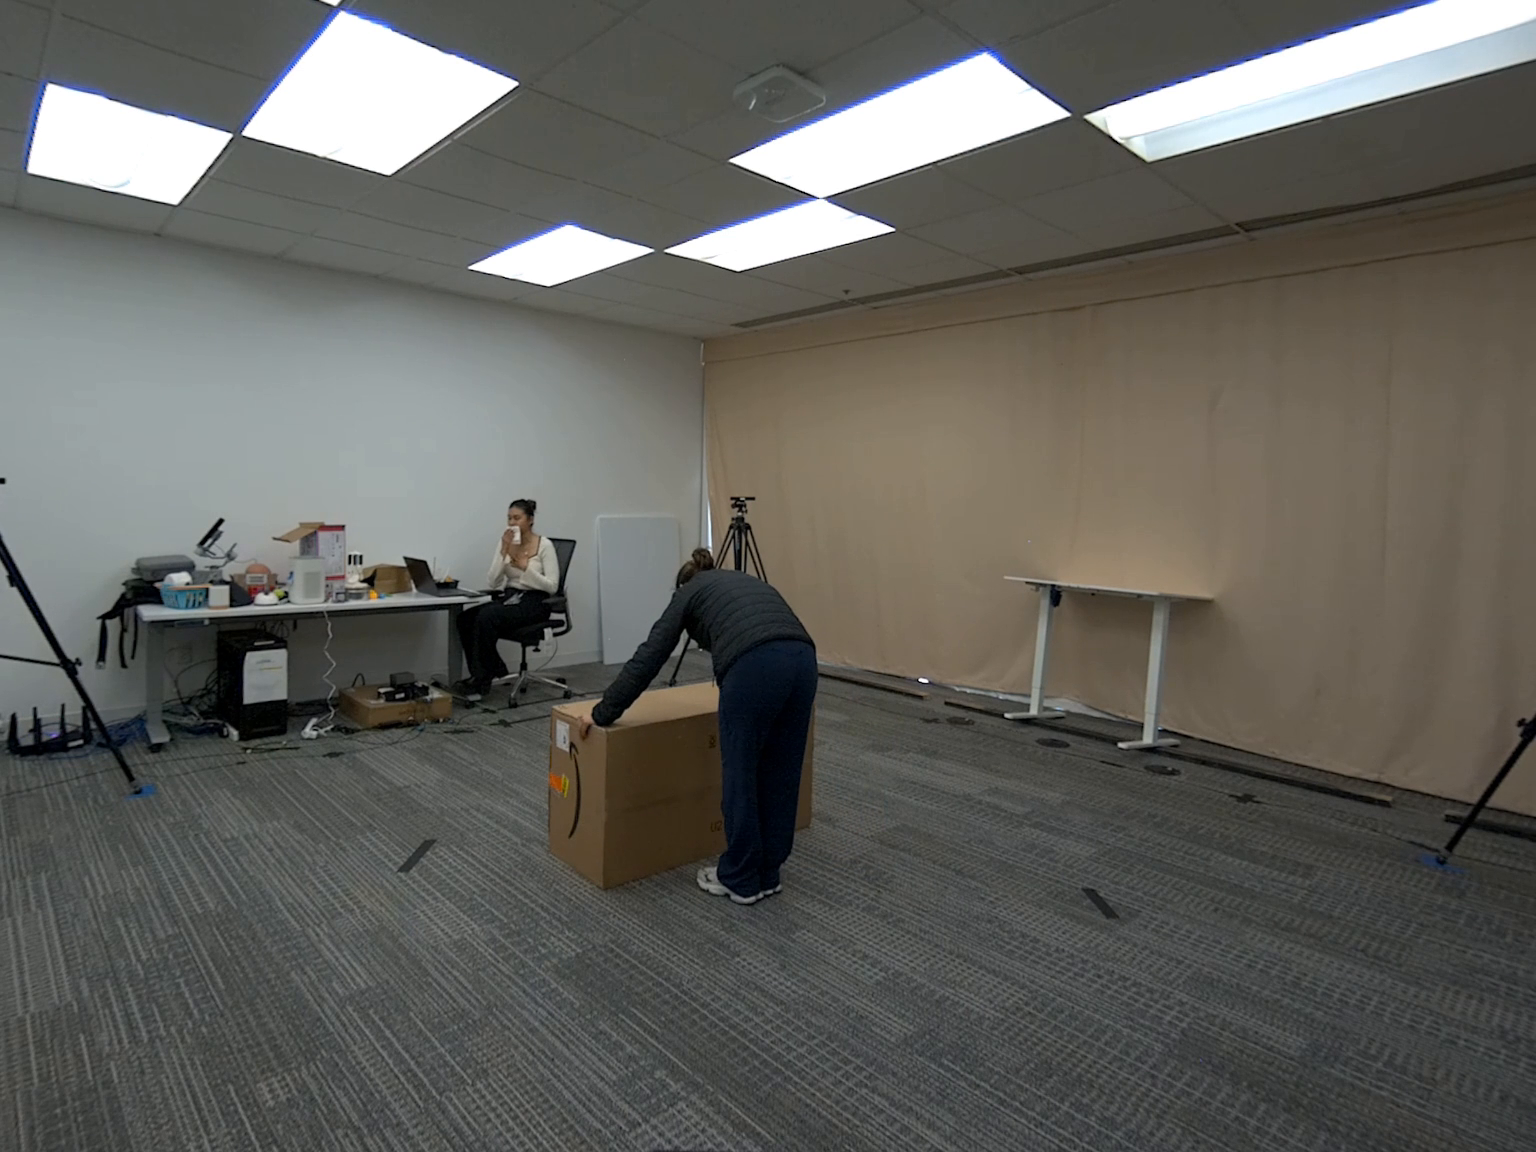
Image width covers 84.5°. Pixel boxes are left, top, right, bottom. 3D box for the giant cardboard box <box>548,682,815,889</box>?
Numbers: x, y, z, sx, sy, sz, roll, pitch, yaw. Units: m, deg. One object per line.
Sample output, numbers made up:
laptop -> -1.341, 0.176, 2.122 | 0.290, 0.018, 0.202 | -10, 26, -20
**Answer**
giant cardboard box -> -0.337, 0.789, 3.422 | 1.004, 0.582, 0.458 | -2, 7, -39
